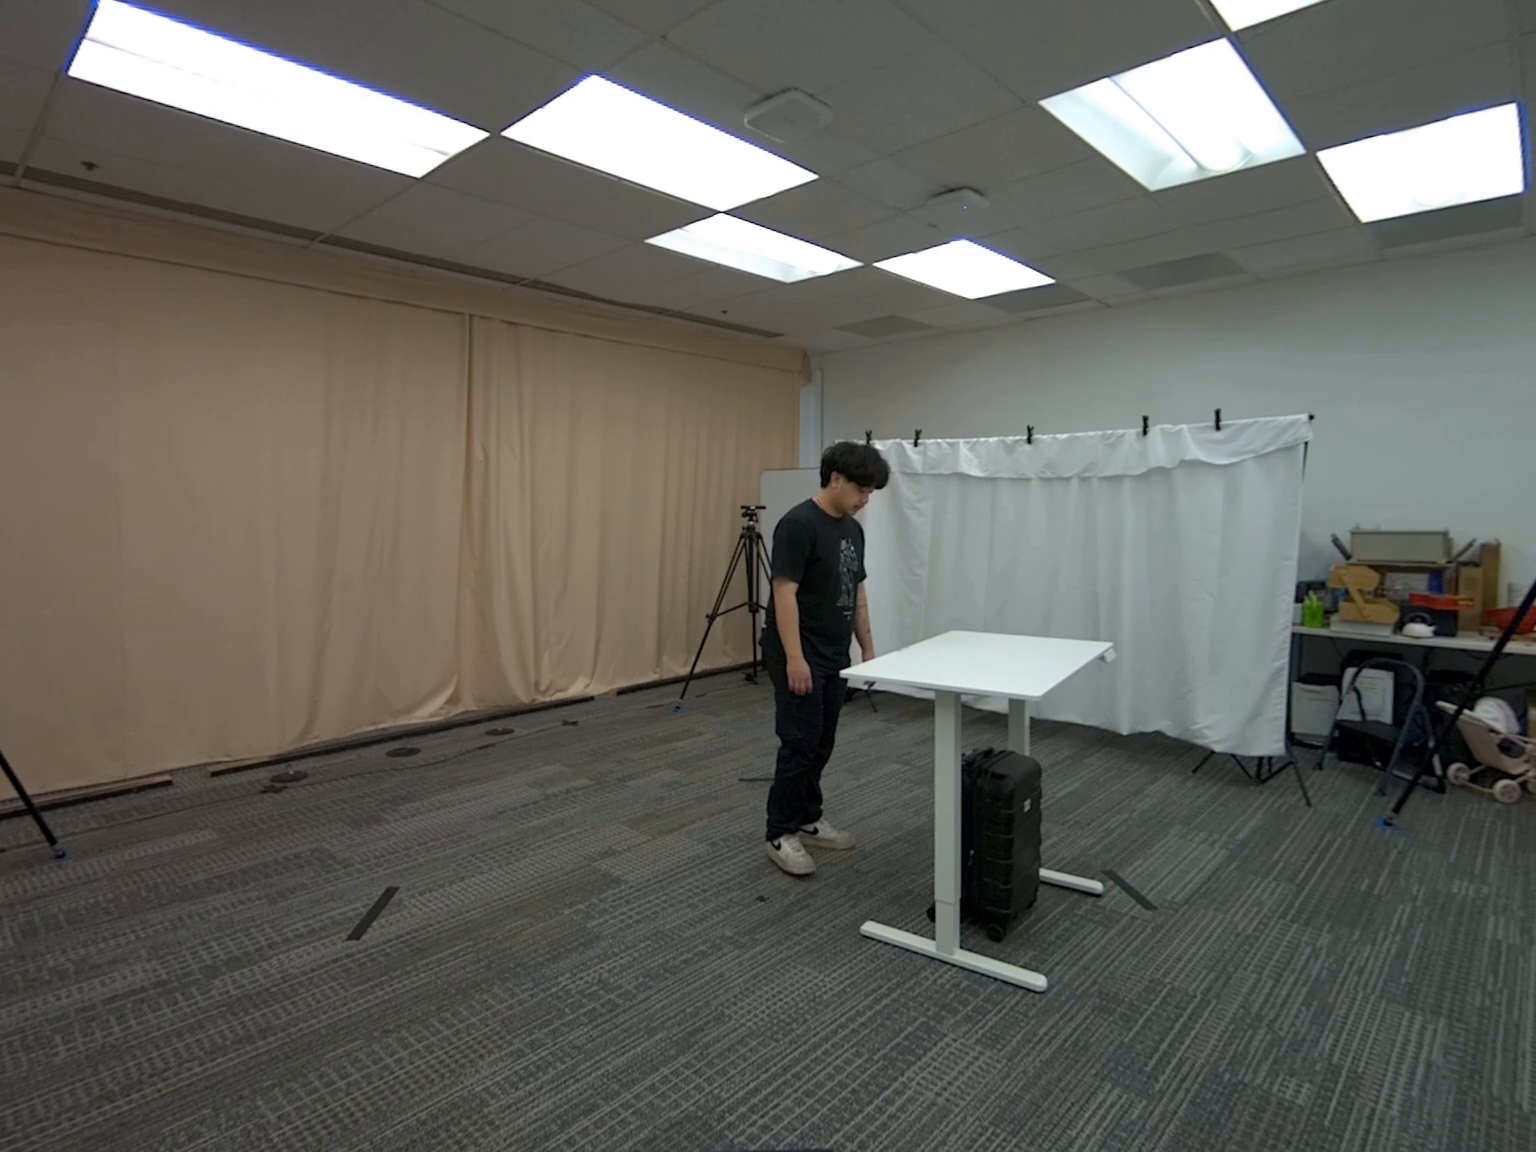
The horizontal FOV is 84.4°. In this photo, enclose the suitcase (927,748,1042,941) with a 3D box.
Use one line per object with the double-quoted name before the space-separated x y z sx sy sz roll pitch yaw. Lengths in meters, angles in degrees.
"suitcase" 0.763 0.880 2.852 0.256 0.548 0.364 5 5 36
